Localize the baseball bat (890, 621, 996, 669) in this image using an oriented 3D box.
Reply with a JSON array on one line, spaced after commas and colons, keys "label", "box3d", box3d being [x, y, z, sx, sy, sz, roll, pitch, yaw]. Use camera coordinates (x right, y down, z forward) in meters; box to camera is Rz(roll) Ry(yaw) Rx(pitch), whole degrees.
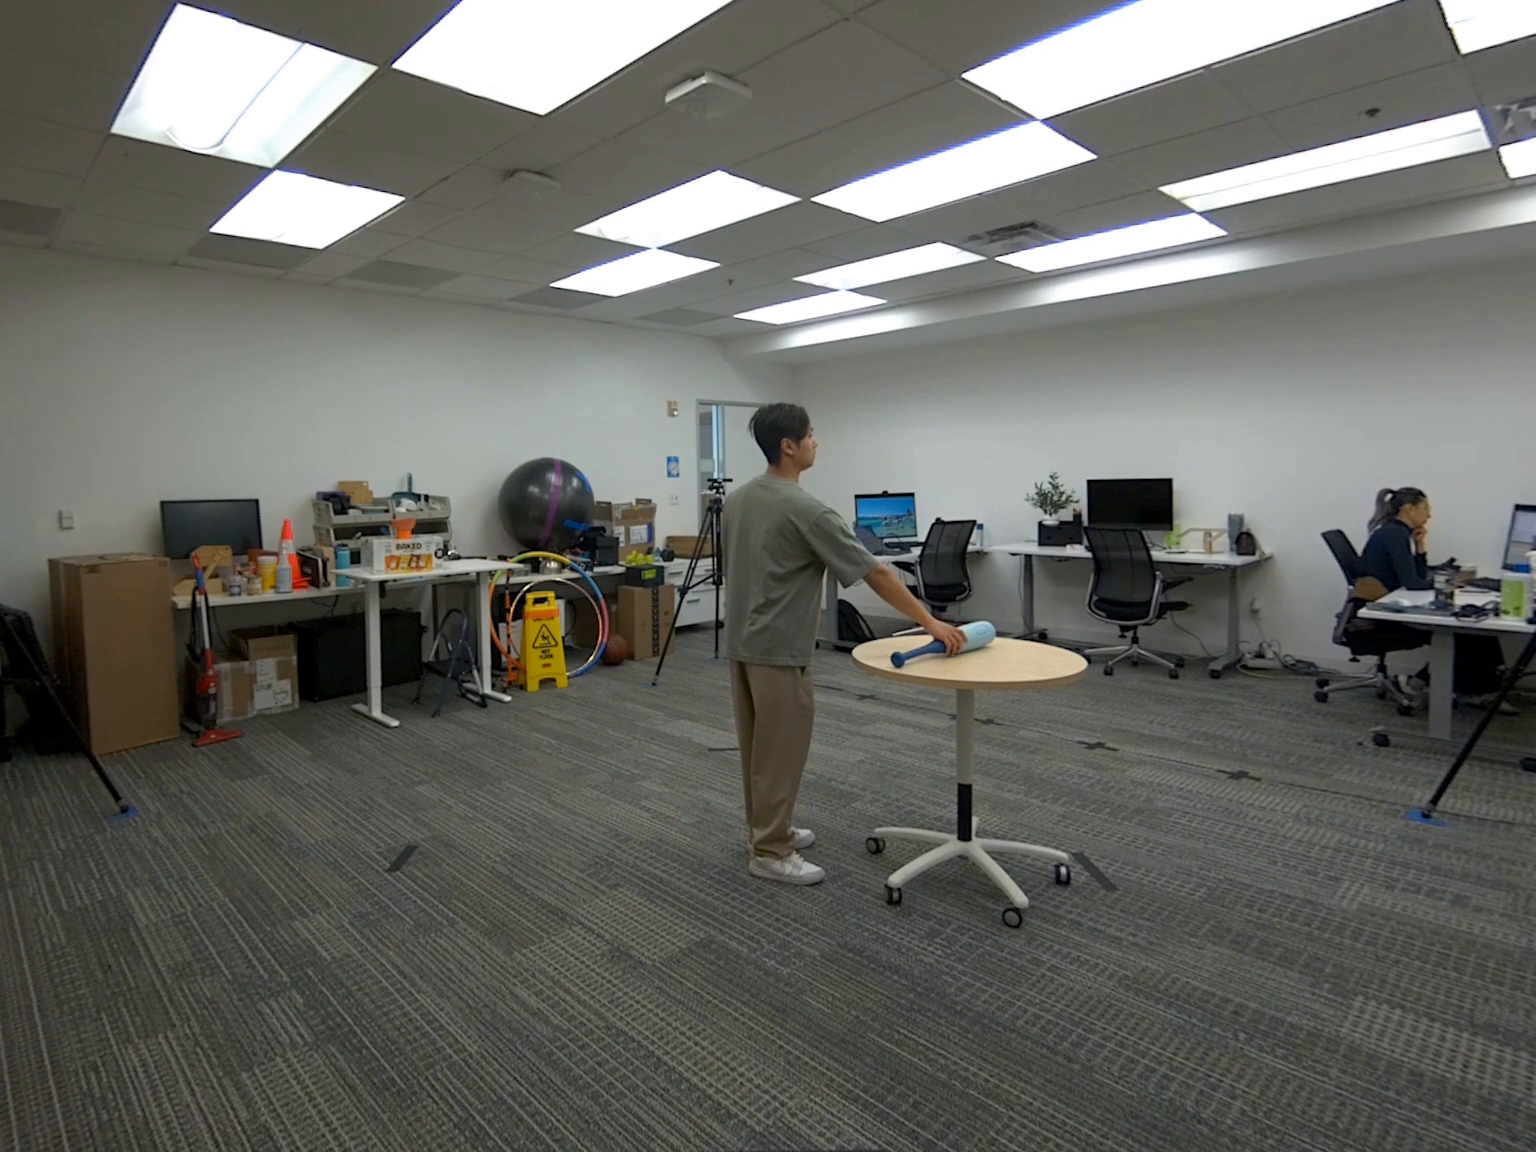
[{"label": "baseball bat", "box3d": [0.593, 0.232, 2.899, 0.529, 0.088, 0.092, -9, 9, -42]}]
